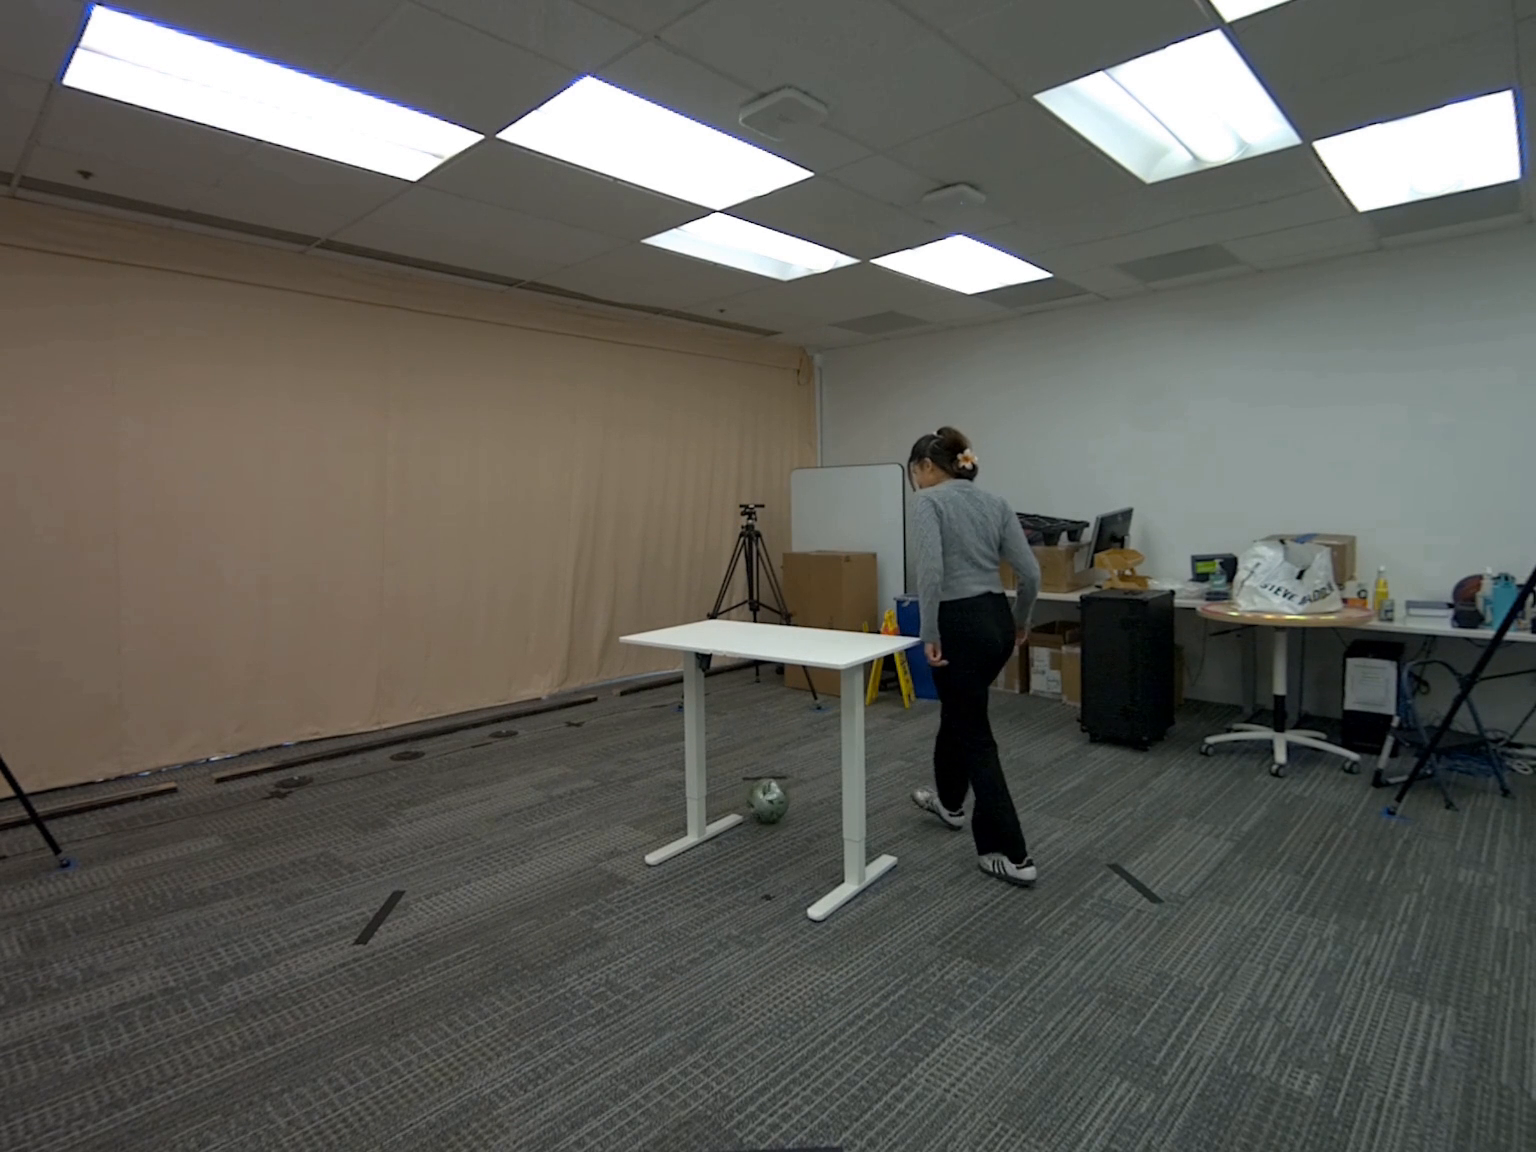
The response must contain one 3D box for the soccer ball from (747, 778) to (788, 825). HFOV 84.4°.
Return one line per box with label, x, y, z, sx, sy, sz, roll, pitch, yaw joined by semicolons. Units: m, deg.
soccer ball;0.002;0.988;3.699;0.187;0.187;0.188;-1;4;-2
